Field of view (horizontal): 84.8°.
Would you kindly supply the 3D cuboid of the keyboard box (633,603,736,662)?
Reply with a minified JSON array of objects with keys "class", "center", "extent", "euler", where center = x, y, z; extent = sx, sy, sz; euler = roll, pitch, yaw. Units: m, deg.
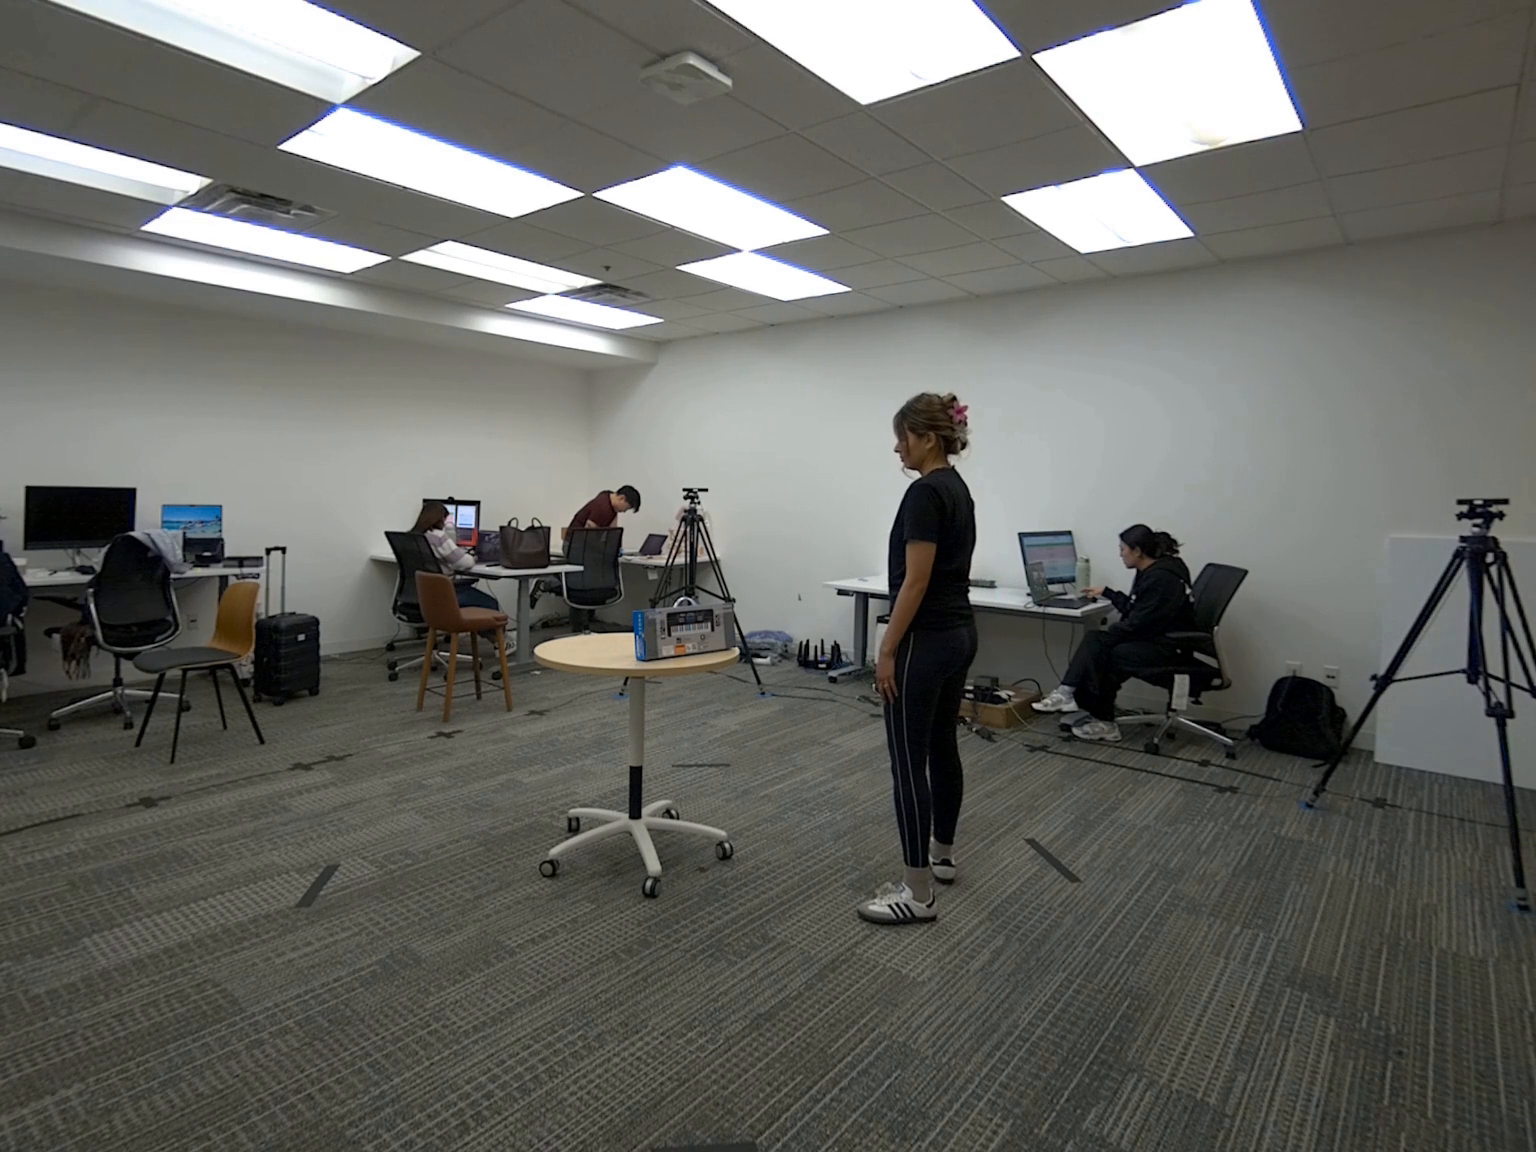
[{"class":"keyboard box","center":[-0.307,0.197,3.100],"extent":[0.423,0.176,0.061],"euler":[-3,-3,-45]}]
